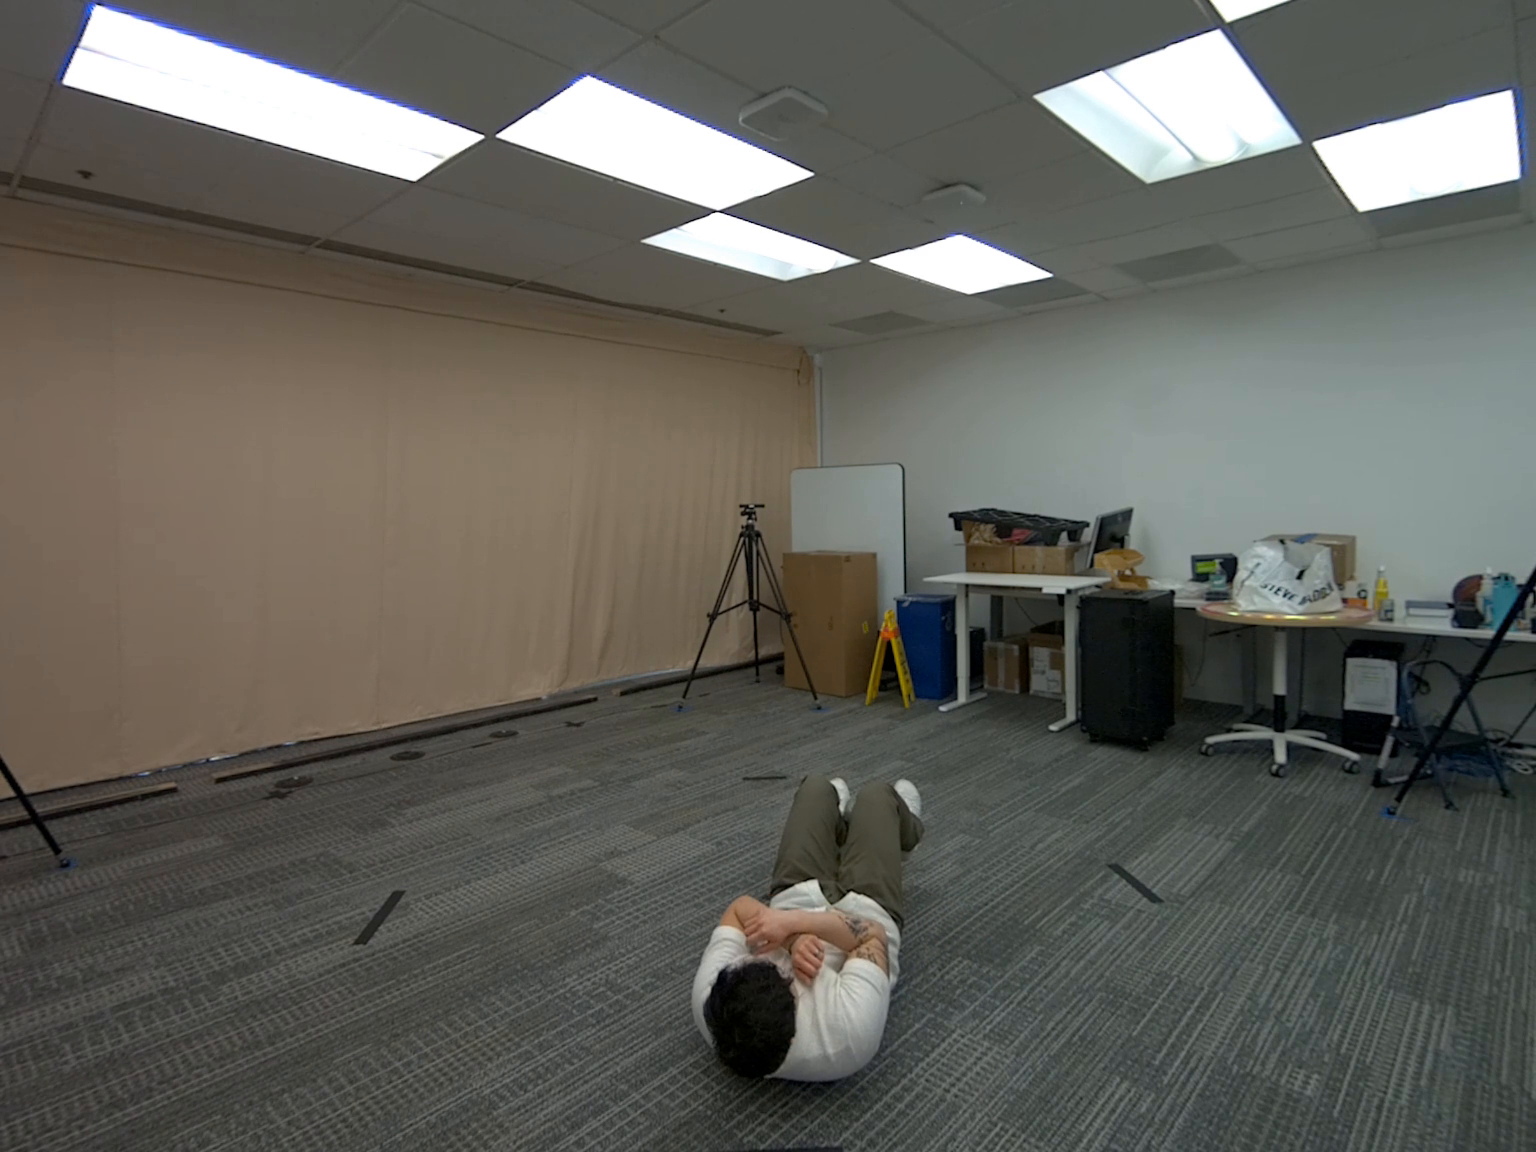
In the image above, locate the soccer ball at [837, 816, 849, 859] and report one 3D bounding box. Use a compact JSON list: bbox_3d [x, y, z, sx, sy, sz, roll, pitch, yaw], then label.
[{"bbox_3d":[0.379,0.856,2.957,0.187,0.187,0.188,-1,4,-2],"label":"soccer ball"}]
